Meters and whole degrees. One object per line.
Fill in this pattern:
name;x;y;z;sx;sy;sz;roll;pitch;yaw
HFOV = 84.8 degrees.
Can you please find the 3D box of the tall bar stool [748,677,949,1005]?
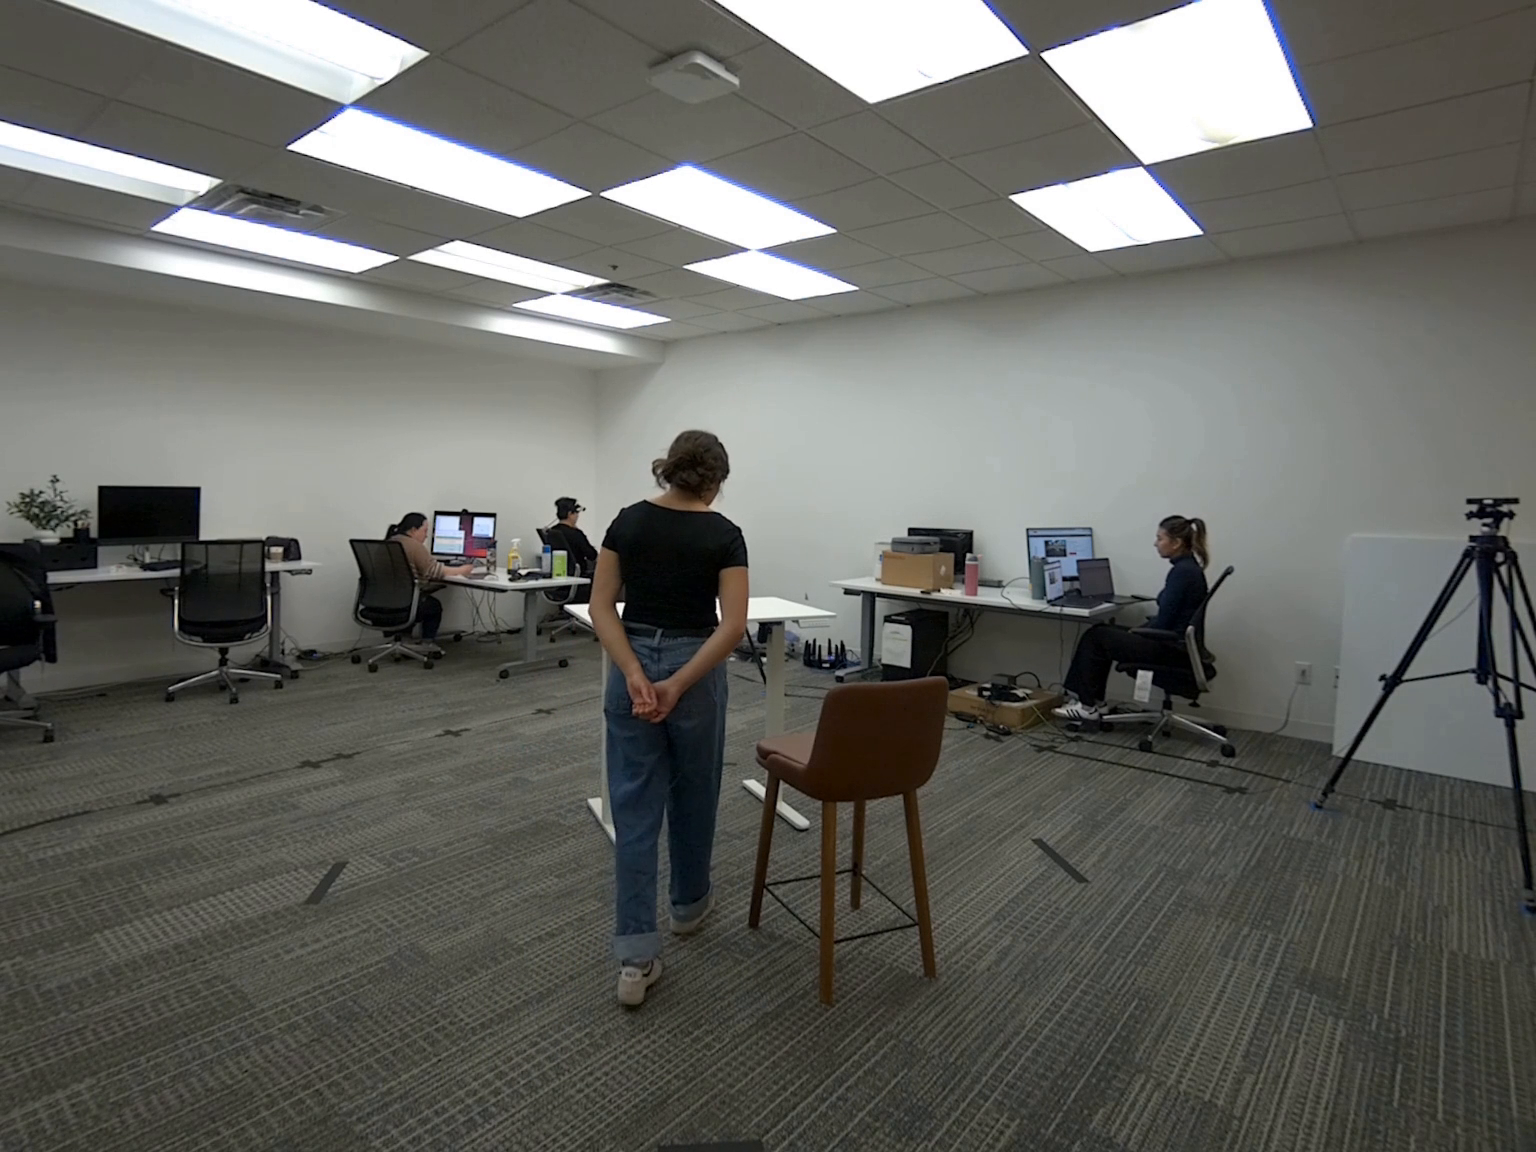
tall bar stool;0.227;0.699;2.552;0.445;0.886;0.481;0;5;-26
